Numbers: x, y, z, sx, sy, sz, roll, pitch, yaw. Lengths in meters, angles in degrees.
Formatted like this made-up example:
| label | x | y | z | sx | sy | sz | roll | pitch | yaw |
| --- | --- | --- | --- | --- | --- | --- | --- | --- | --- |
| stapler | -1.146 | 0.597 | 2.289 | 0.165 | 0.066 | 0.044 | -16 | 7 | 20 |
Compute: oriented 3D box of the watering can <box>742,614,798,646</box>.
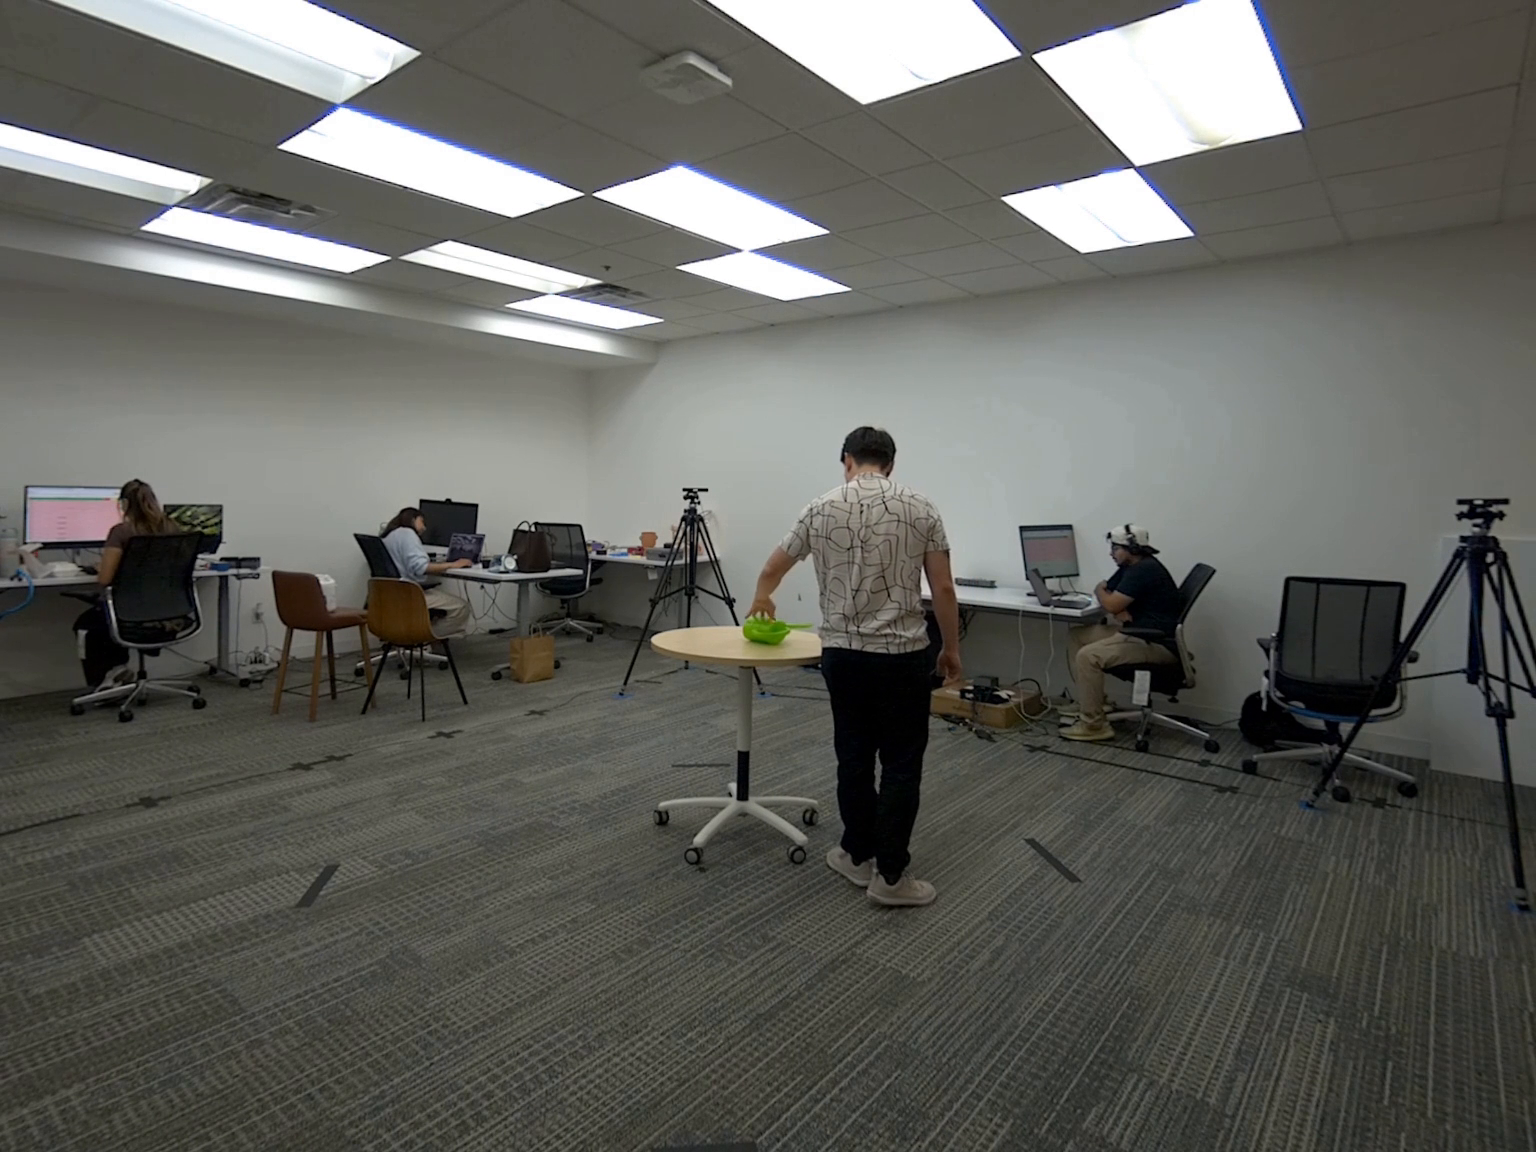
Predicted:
| label | x | y | z | sx | sy | sz | roll | pitch | yaw |
| --- | --- | --- | --- | --- | --- | --- | --- | --- | --- |
| watering can | 0.016 | 0.220 | 3.427 | 0.183 | 0.098 | 0.268 | 5 | -3 | 39 |
